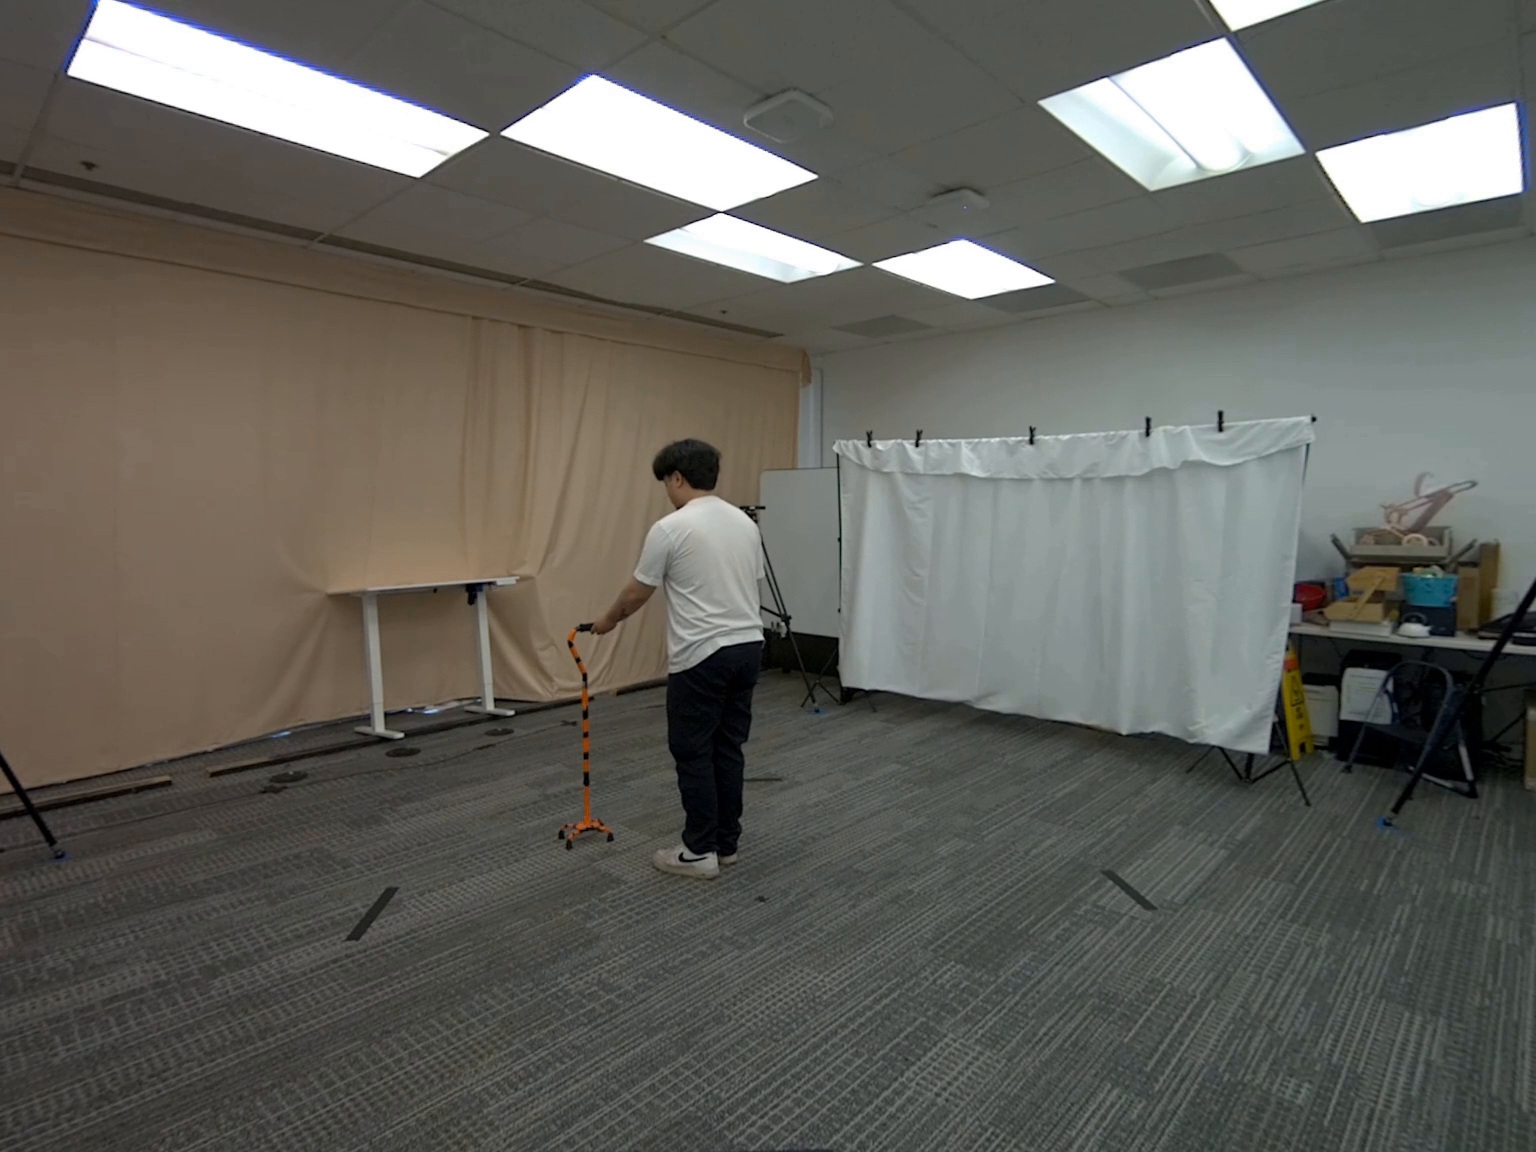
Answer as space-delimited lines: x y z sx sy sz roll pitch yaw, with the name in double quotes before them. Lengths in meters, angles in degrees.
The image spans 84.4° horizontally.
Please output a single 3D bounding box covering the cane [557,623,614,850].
"cane" -0.770 0.657 3.525 0.201 0.907 0.155 -3 2 -26
